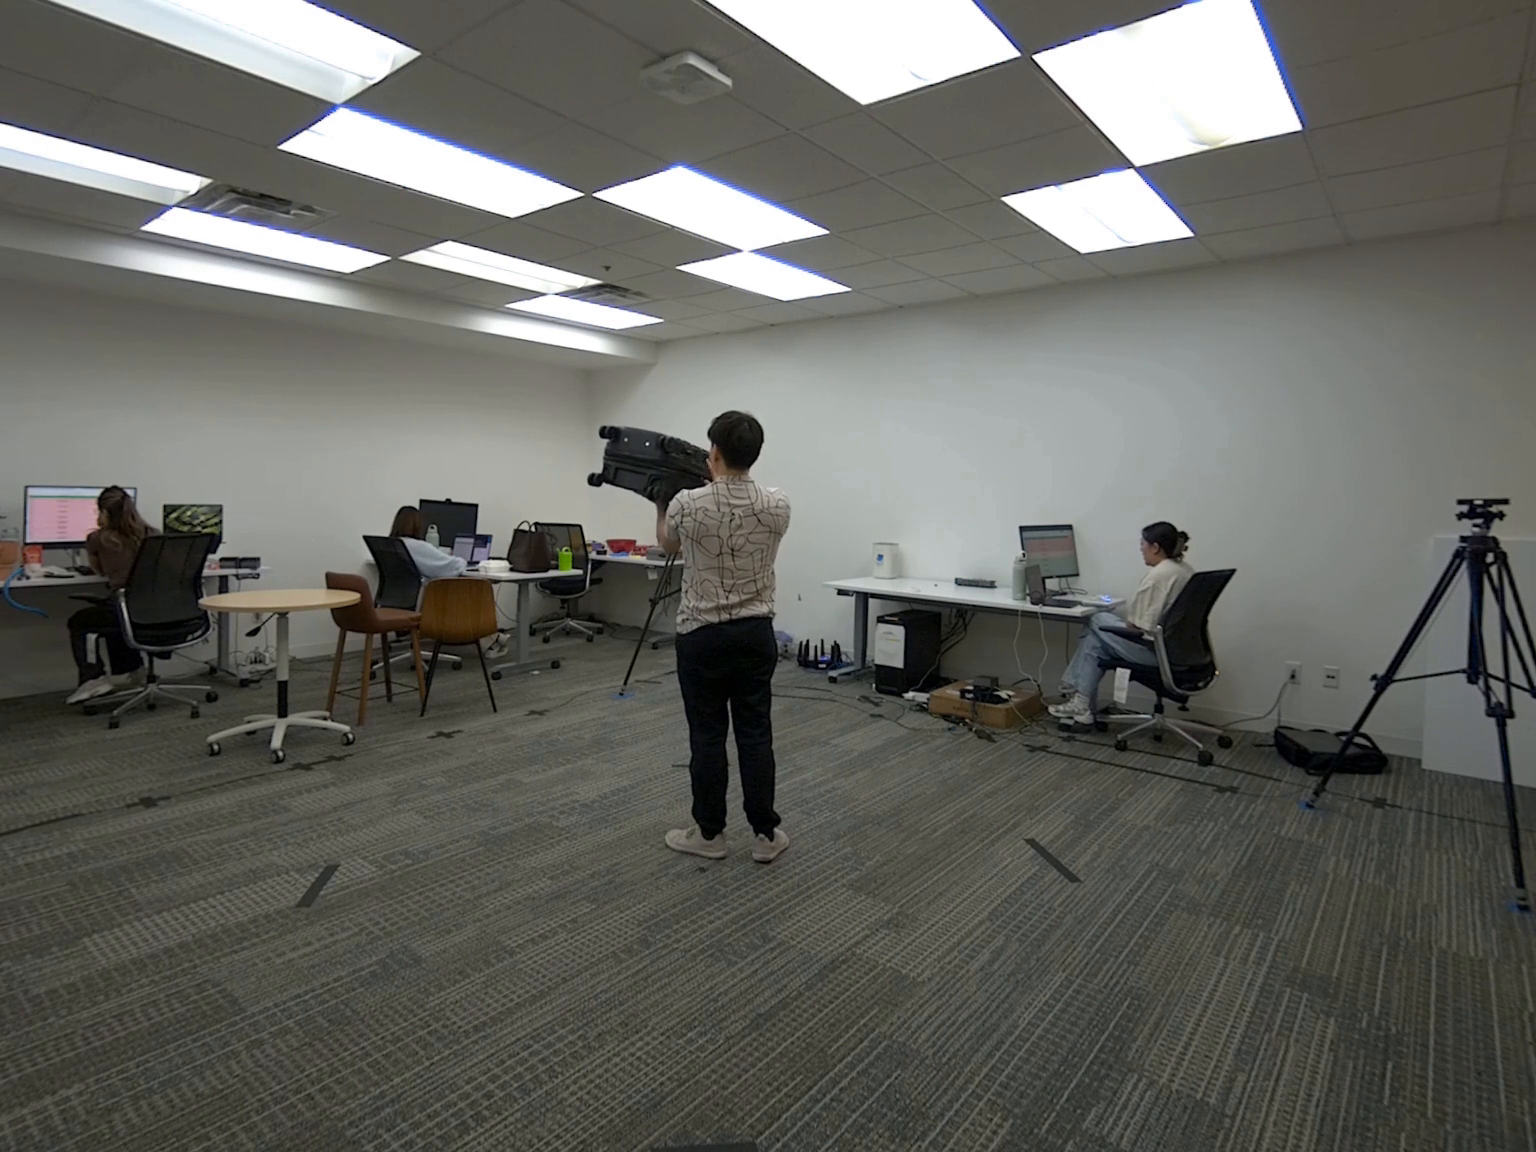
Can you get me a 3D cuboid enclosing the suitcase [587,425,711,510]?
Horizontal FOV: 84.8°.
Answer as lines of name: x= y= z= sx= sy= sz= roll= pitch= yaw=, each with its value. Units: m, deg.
suitcase: x=-0.451 y=-0.450 z=3.567 sx=0.387 sy=0.248 sz=0.533 roll=15 pitch=3 yaw=26
